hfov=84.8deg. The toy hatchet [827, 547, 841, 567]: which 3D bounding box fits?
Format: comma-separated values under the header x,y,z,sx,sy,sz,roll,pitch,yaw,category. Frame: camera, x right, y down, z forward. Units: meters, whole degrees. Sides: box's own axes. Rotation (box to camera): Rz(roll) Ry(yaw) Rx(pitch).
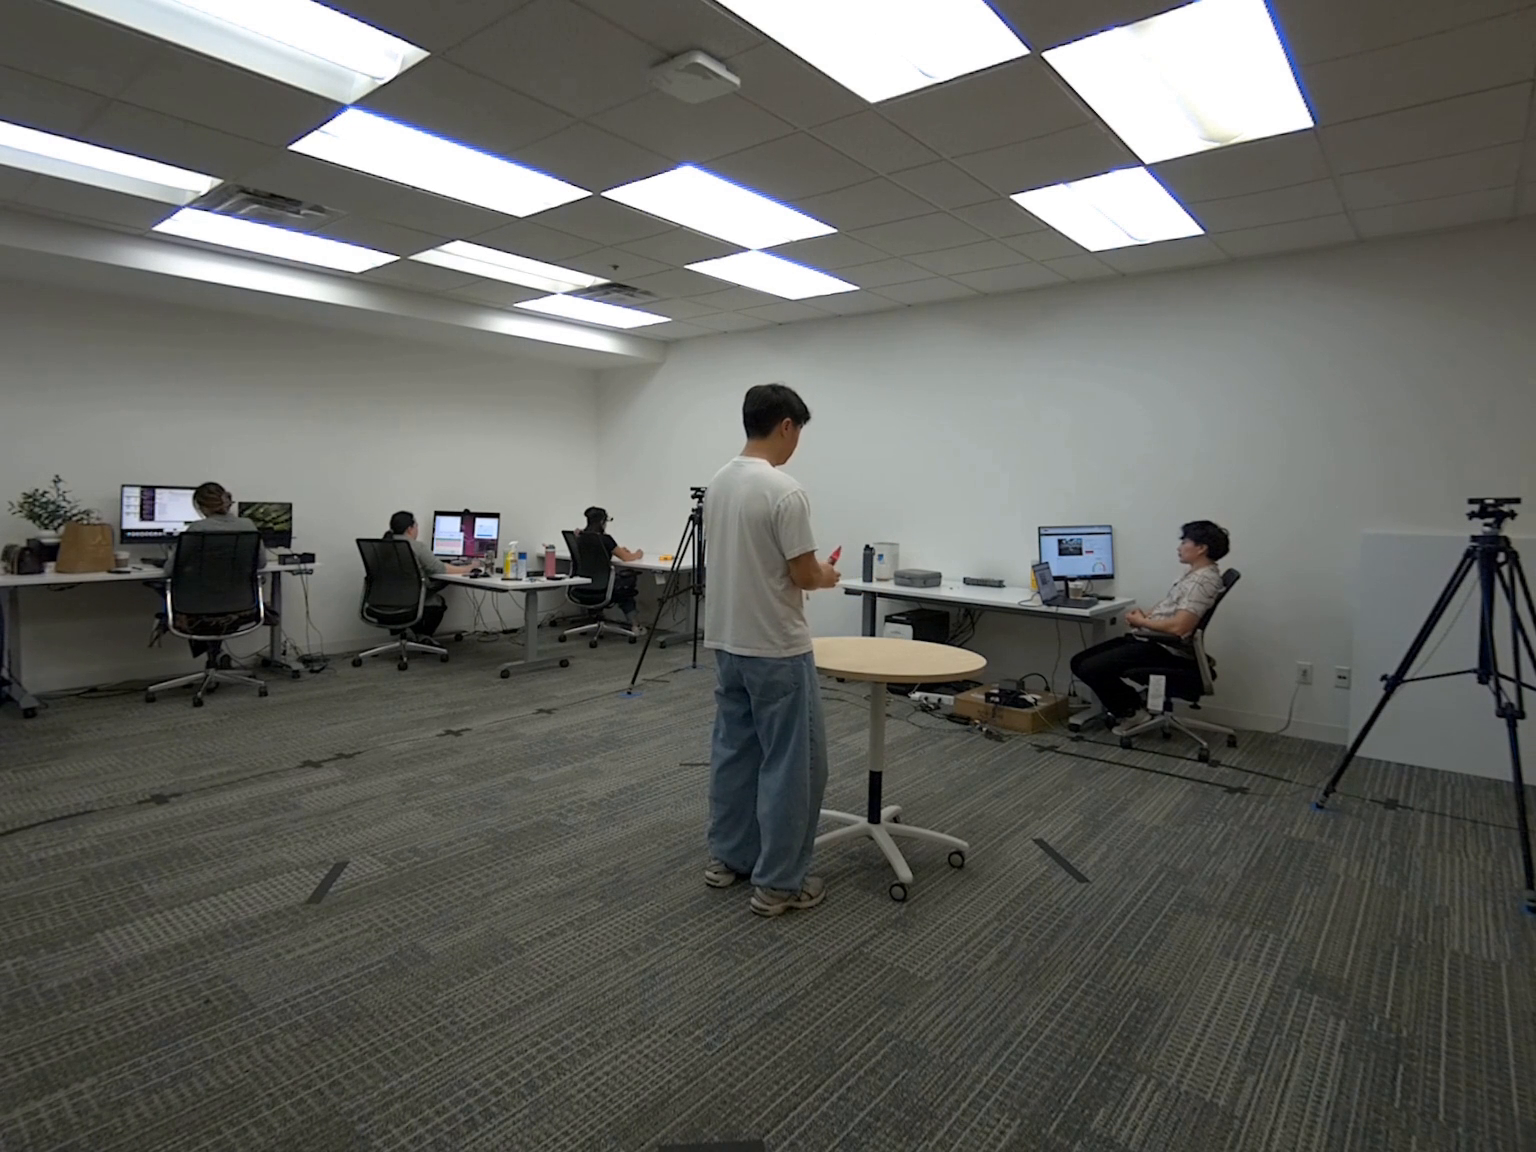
x,y,z,sx,sy,sz,roll,pitch,yaw,category
0.200,-0.014,3.139,0.030,0.130,0.269,36,44,6,toy hatchet
